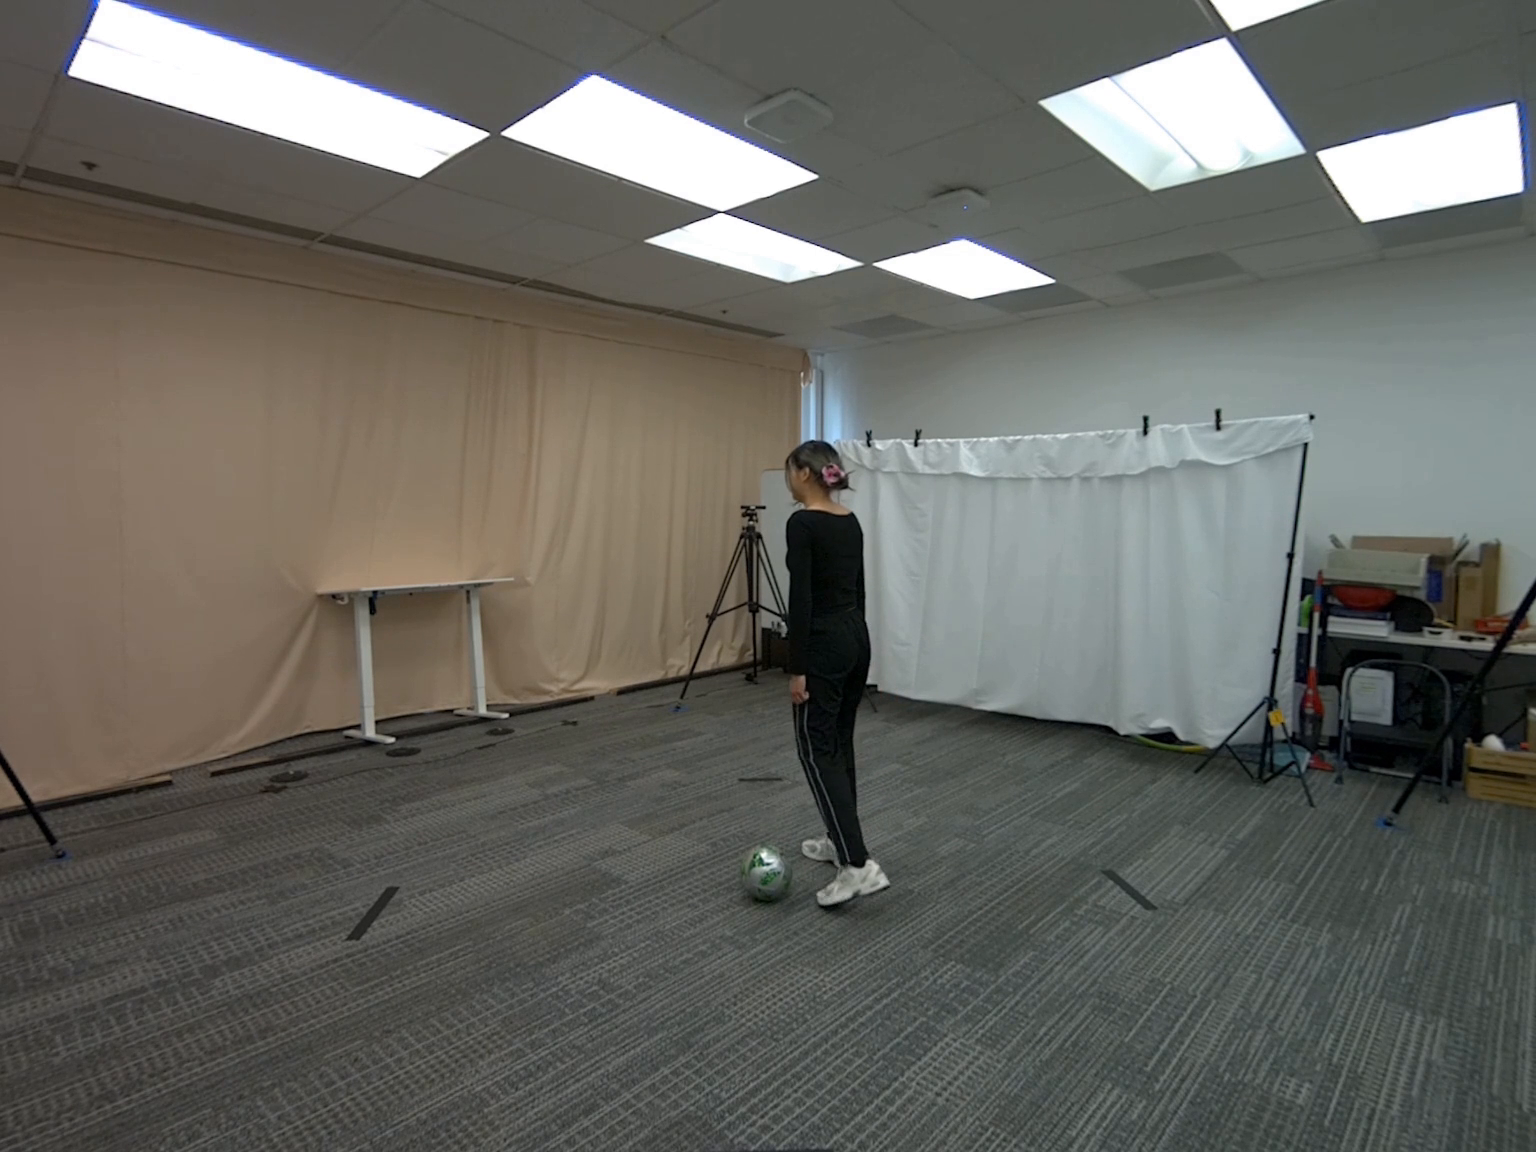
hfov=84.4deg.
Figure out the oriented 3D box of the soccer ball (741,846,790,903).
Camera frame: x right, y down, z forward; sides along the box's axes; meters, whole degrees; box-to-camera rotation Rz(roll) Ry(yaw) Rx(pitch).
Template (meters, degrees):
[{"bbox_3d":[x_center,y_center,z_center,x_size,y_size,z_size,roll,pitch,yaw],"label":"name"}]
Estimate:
[{"bbox_3d":[-0.003,1.051,2.983,0.187,0.187,0.188,0,4,-2],"label":"soccer ball"}]
